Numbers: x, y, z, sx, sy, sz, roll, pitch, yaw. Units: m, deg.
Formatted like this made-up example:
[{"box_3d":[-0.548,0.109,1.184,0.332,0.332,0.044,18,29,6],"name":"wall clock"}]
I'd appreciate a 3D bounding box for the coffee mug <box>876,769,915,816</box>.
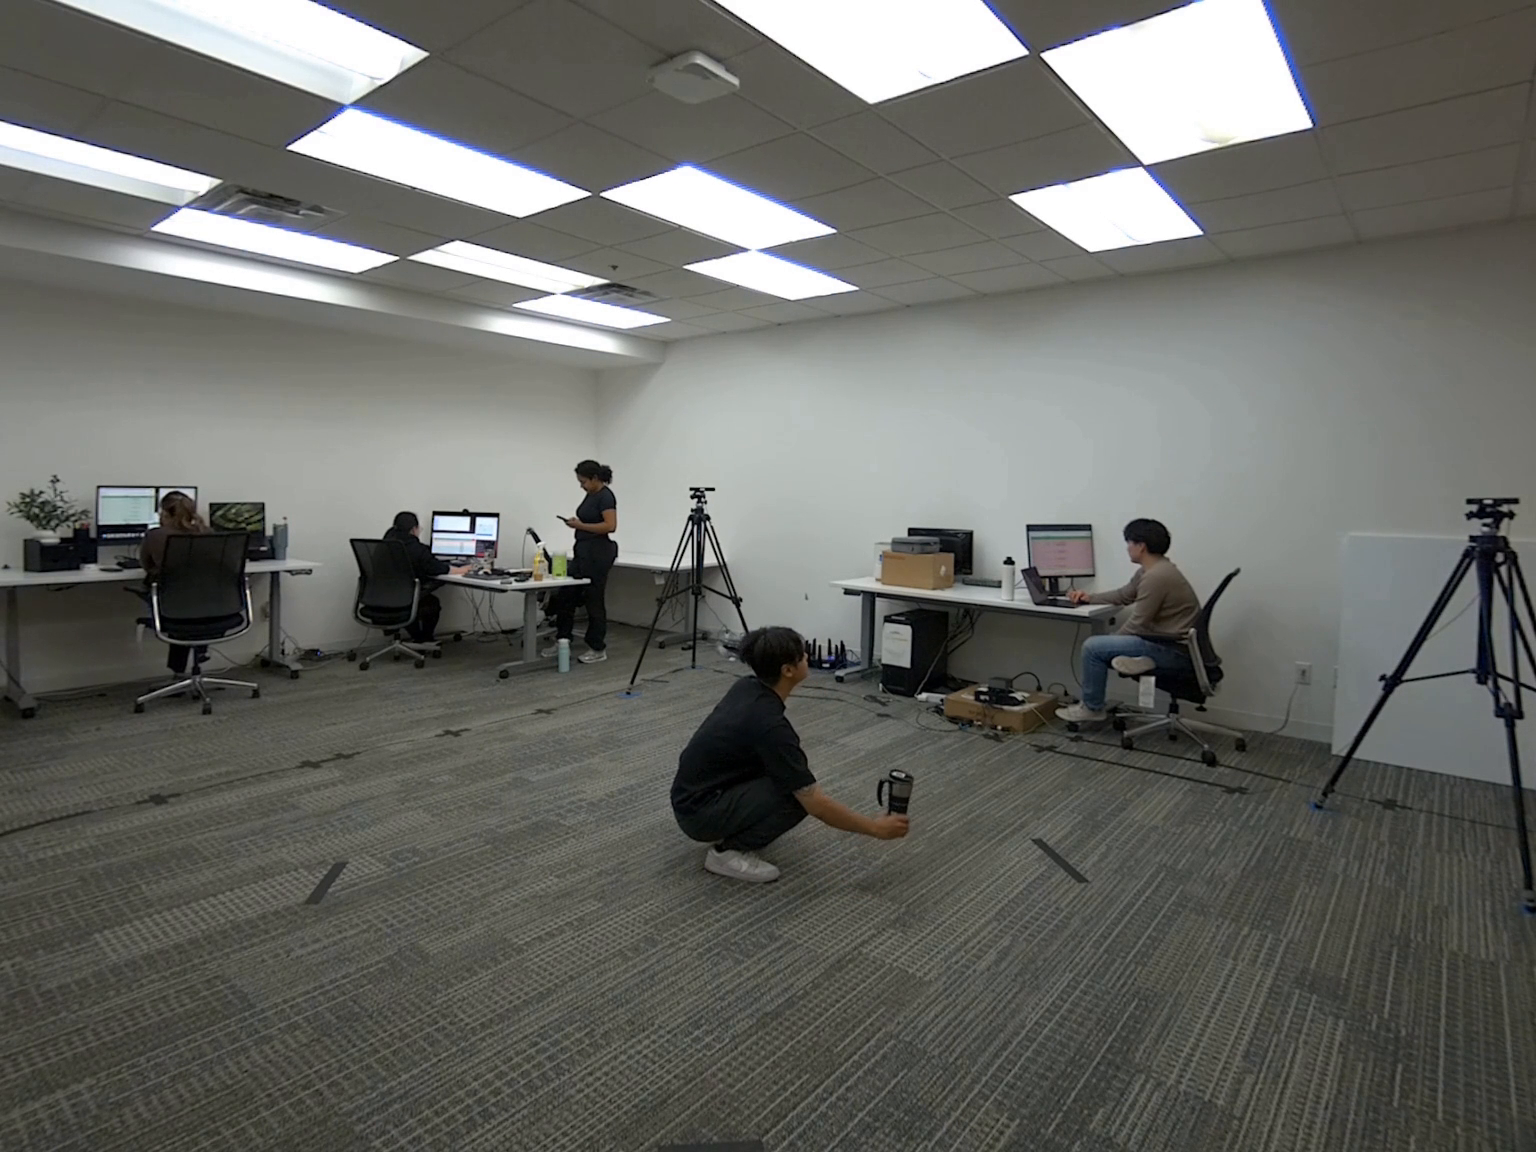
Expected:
[{"box_3d":[0.440,0.798,3.027,0.126,0.201,0.085,11,10,39],"name":"coffee mug"}]
